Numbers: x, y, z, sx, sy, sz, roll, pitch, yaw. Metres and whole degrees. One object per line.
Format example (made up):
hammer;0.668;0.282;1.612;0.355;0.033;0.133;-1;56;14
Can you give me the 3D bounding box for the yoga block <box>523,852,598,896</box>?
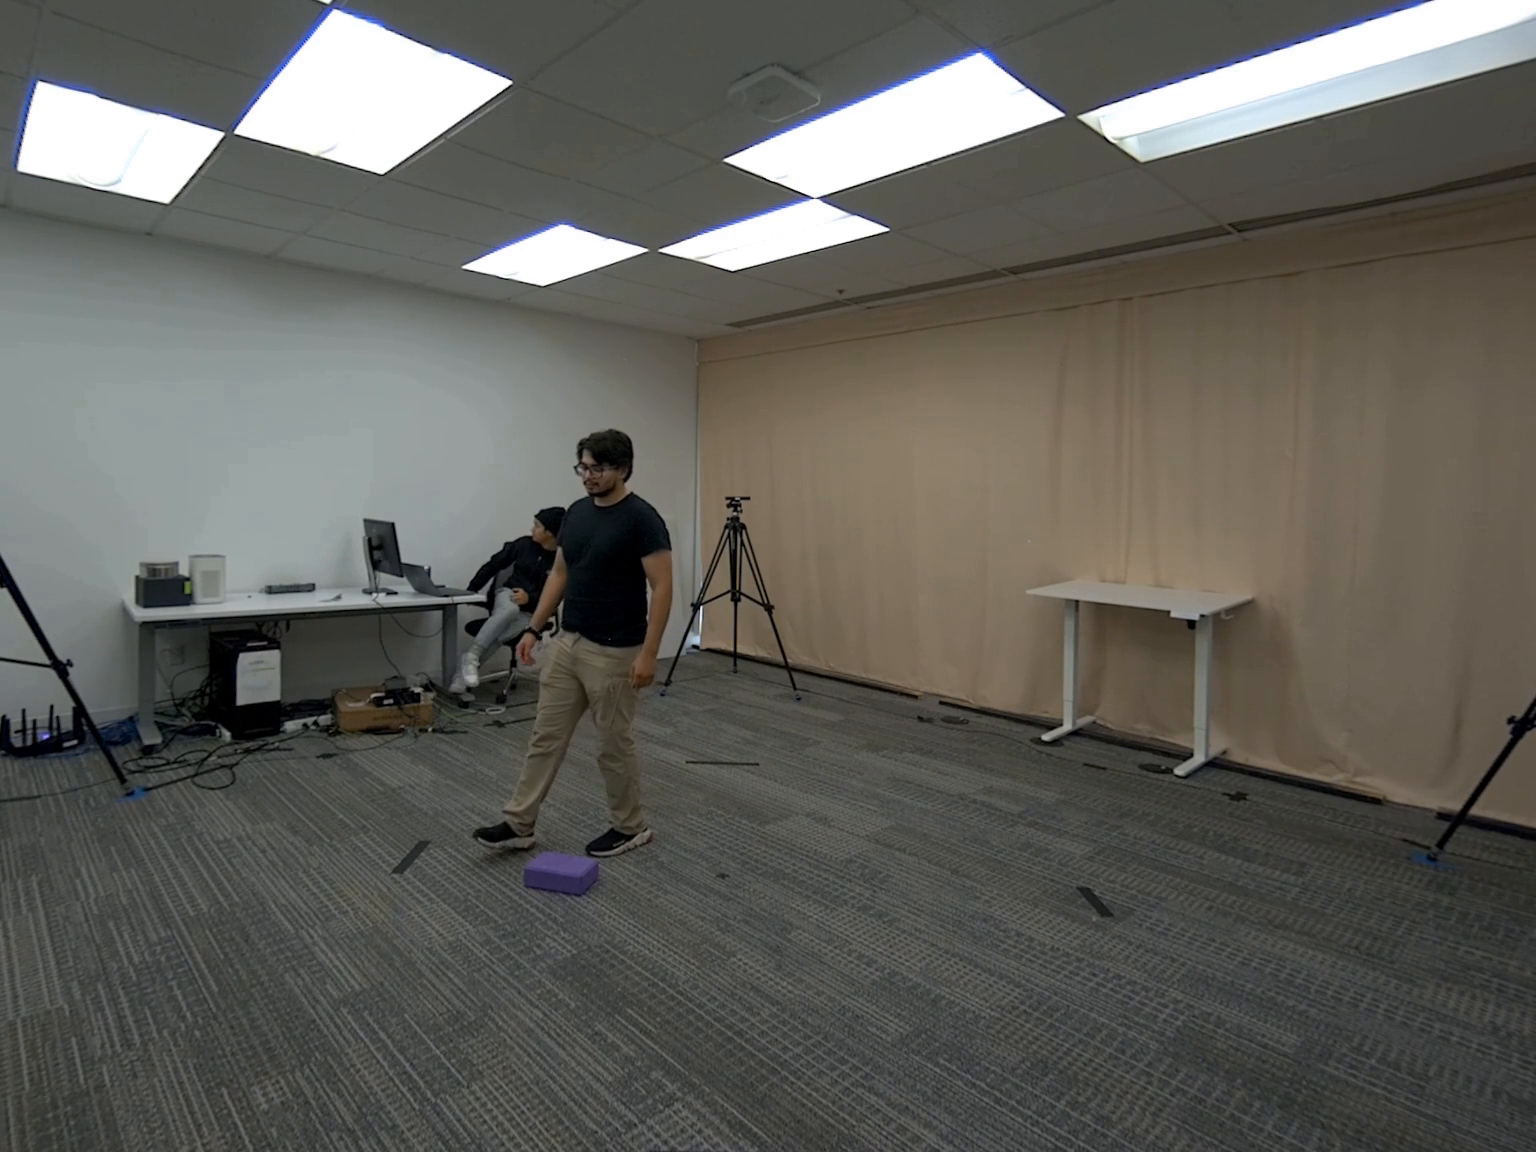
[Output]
yoga block;-0.748;1.067;3.011;0.232;0.076;0.147;3;5;15
